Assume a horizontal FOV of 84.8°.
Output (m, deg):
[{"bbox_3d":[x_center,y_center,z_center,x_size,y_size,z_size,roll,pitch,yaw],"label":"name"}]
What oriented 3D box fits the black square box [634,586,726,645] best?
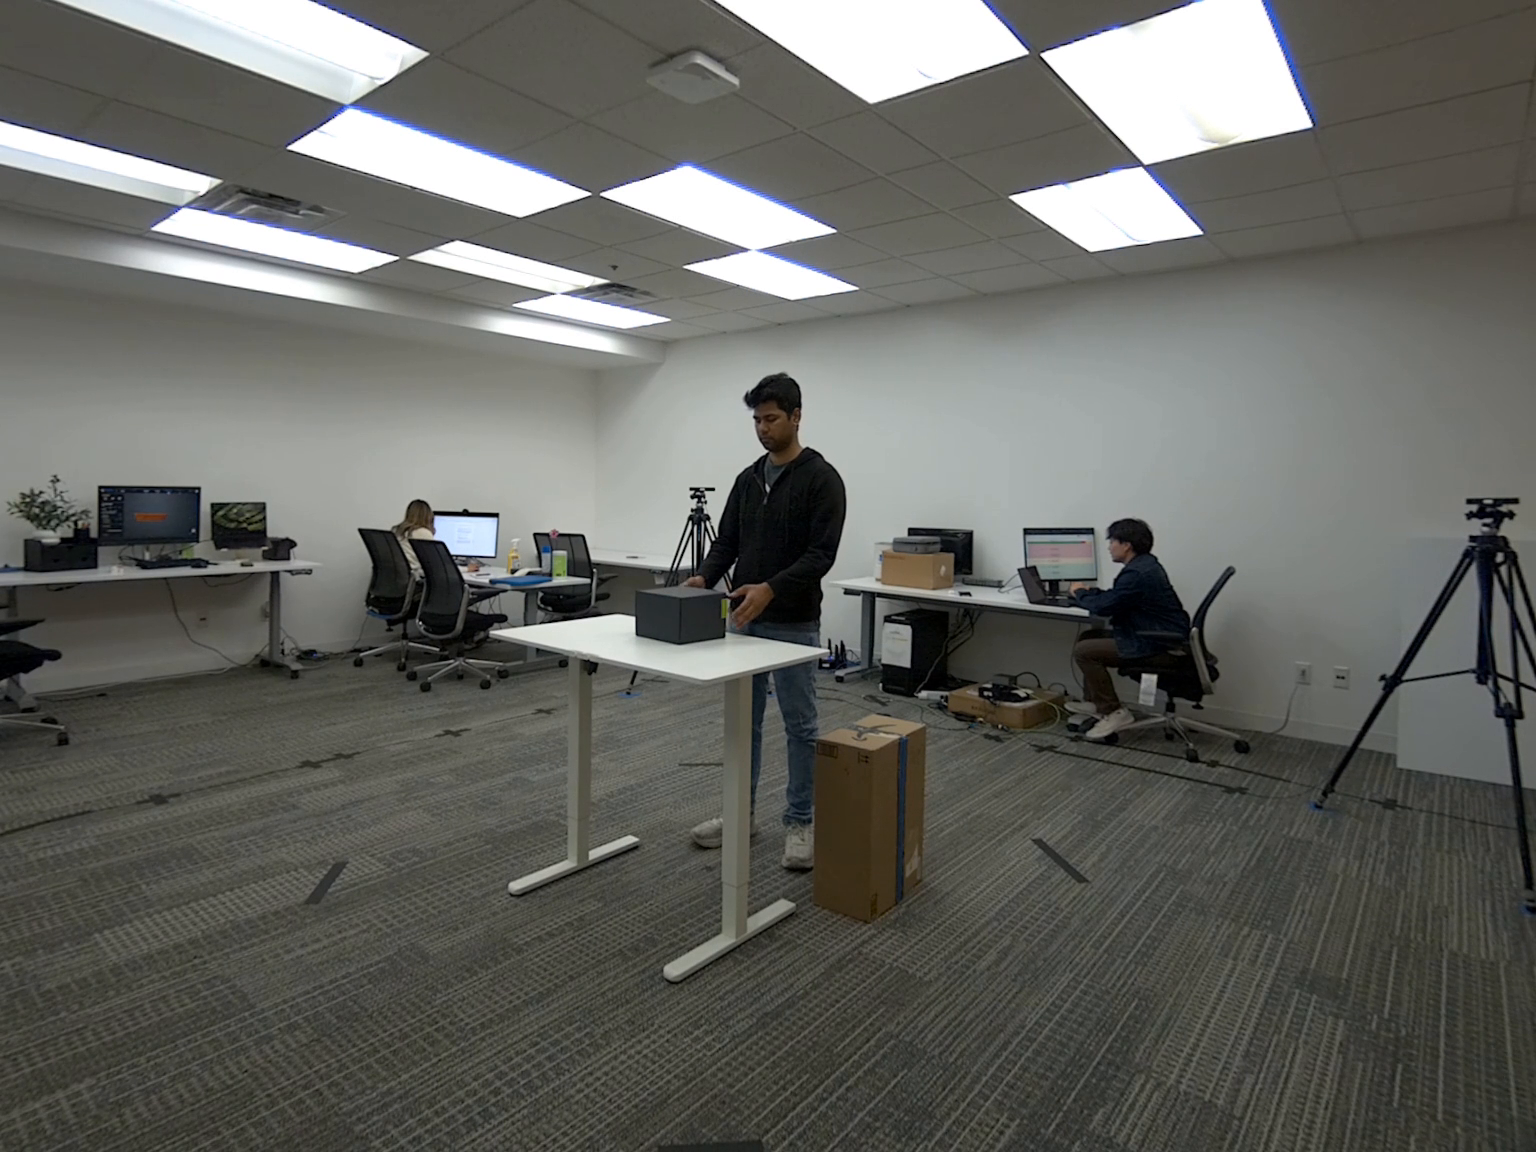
[{"bbox_3d":[-0.314,0.129,2.872,0.236,0.155,0.210,6,7,44],"label":"black square box"}]
